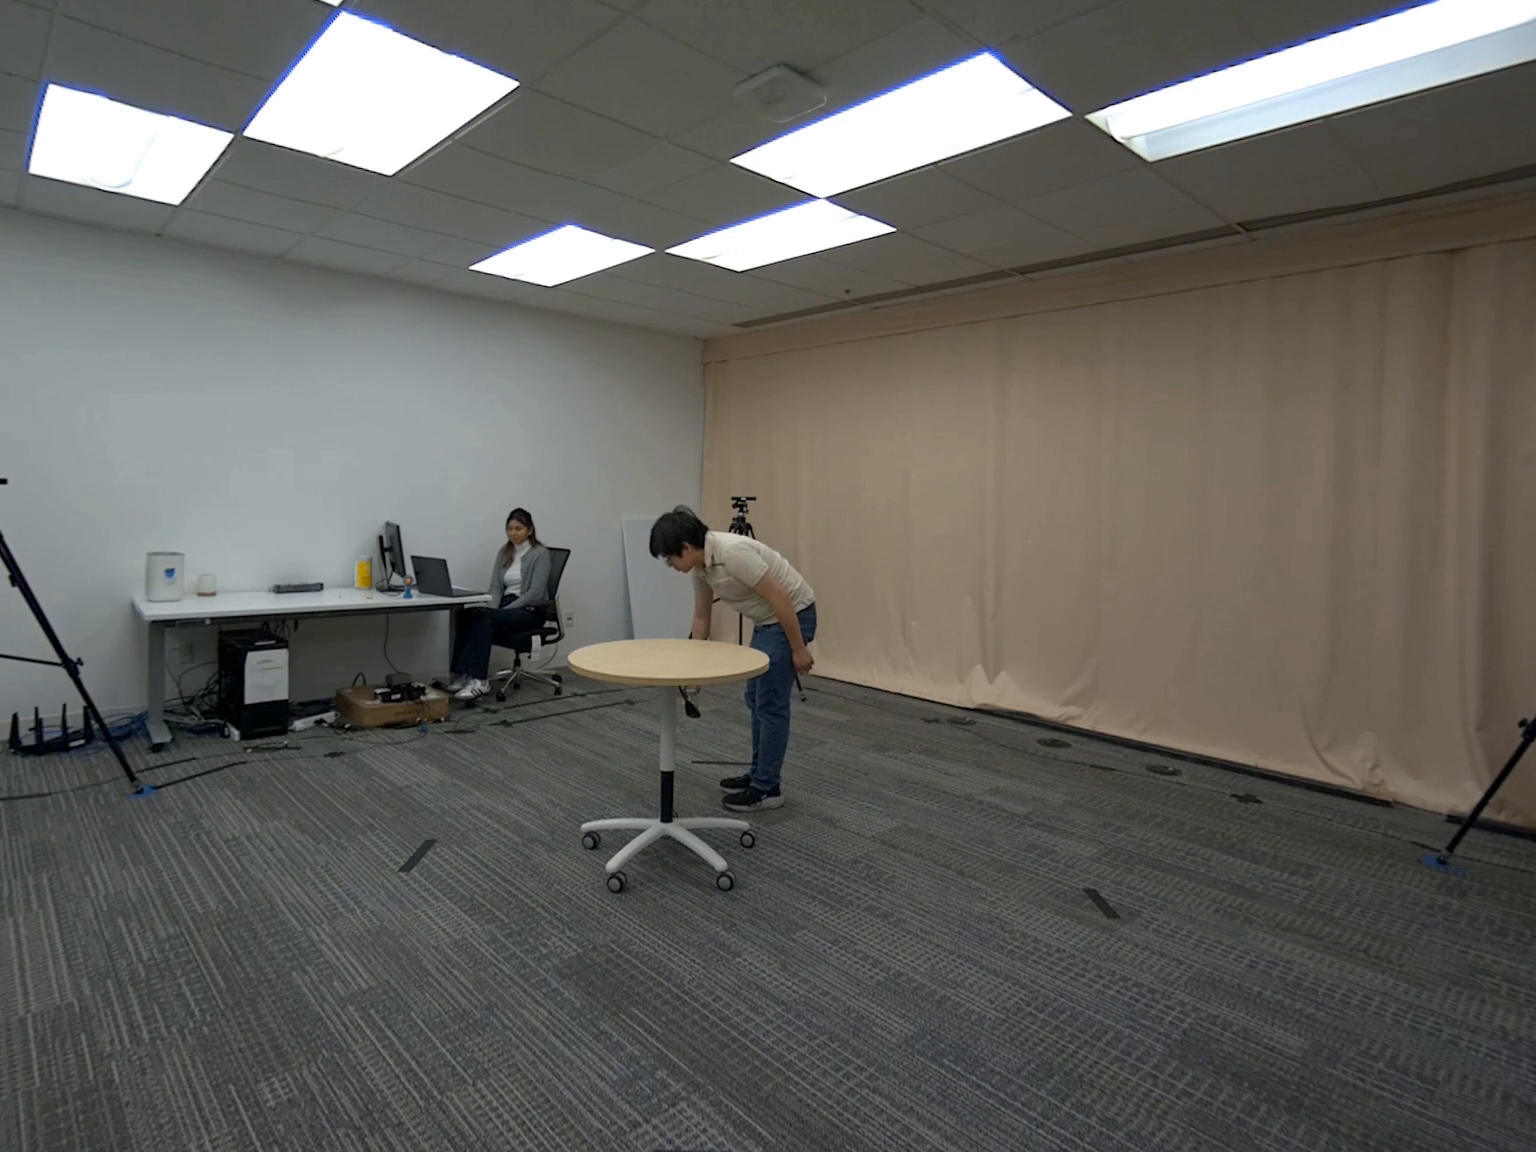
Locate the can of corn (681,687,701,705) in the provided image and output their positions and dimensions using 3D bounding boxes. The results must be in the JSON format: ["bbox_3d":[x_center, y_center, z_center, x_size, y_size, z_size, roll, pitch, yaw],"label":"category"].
[{"bbox_3d":[-0.371,0.598,3.993,0.074,0.111,0.074,-1,1,-1],"label":"can of corn"}]
